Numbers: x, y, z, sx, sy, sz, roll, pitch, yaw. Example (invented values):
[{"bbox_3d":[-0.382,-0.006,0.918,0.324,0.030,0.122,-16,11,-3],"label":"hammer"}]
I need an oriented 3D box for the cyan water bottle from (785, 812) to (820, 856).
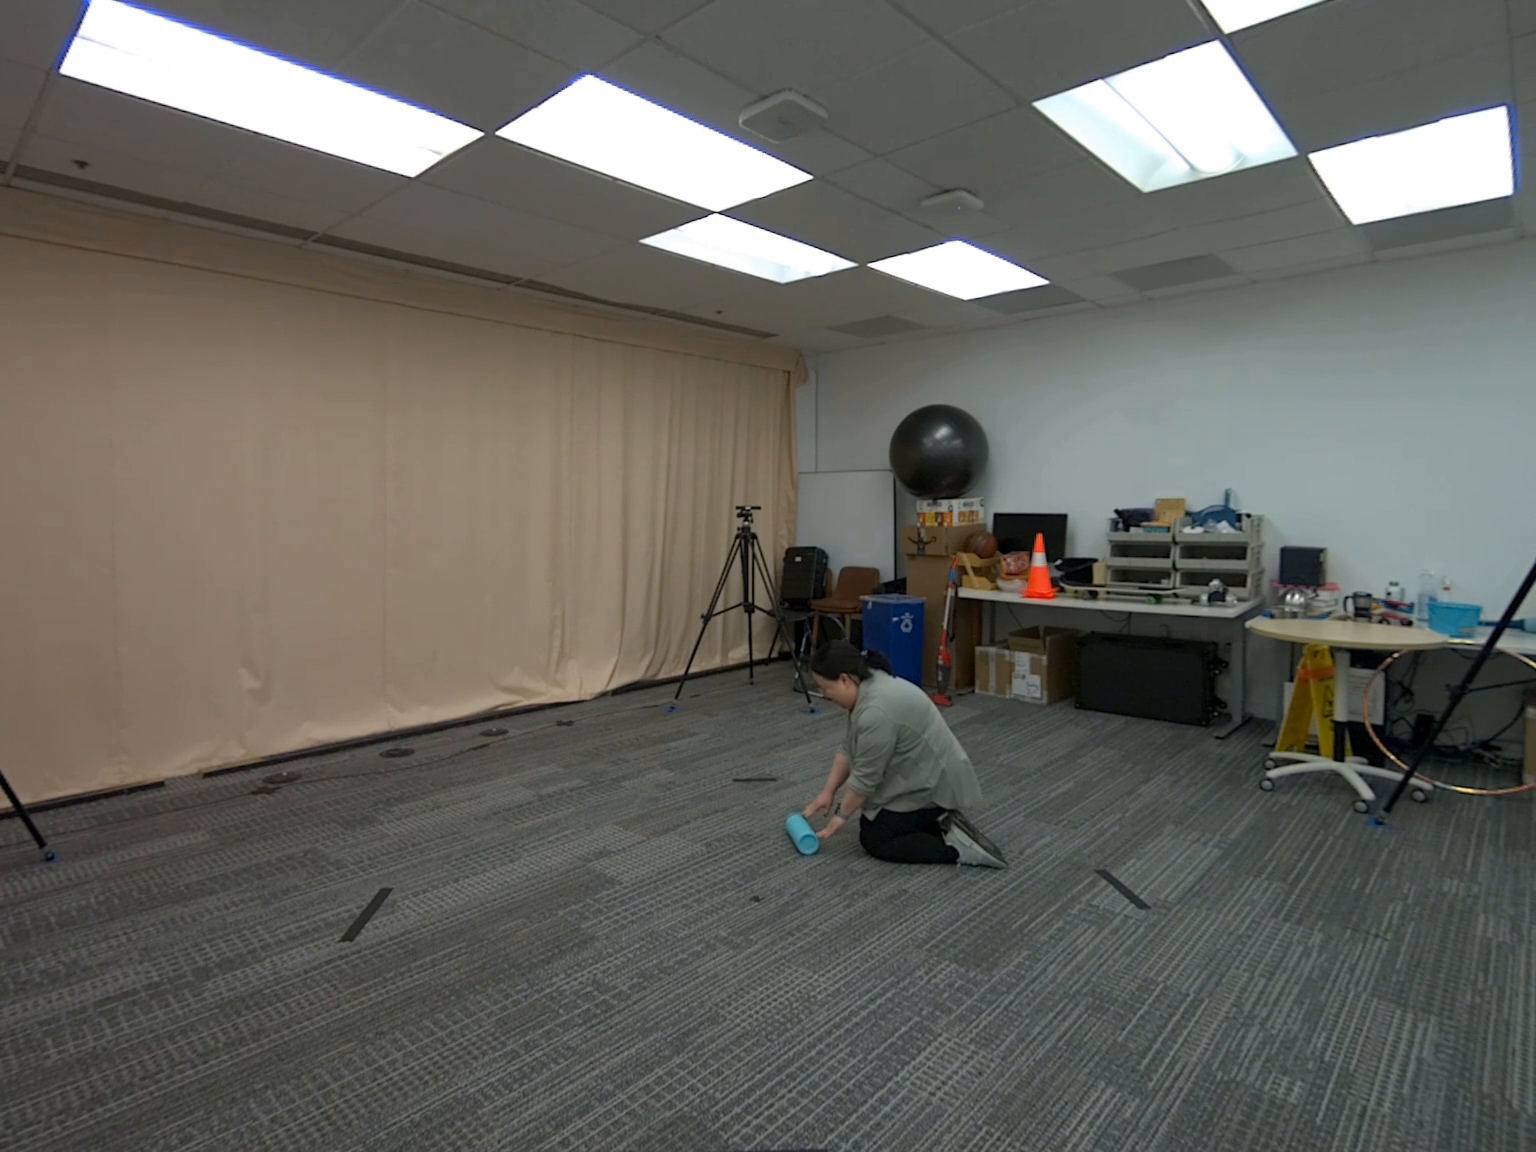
[{"bbox_3d":[0.141,1.059,3.494,0.091,0.092,0.287,-1,4,-10],"label":"cyan water bottle"}]
